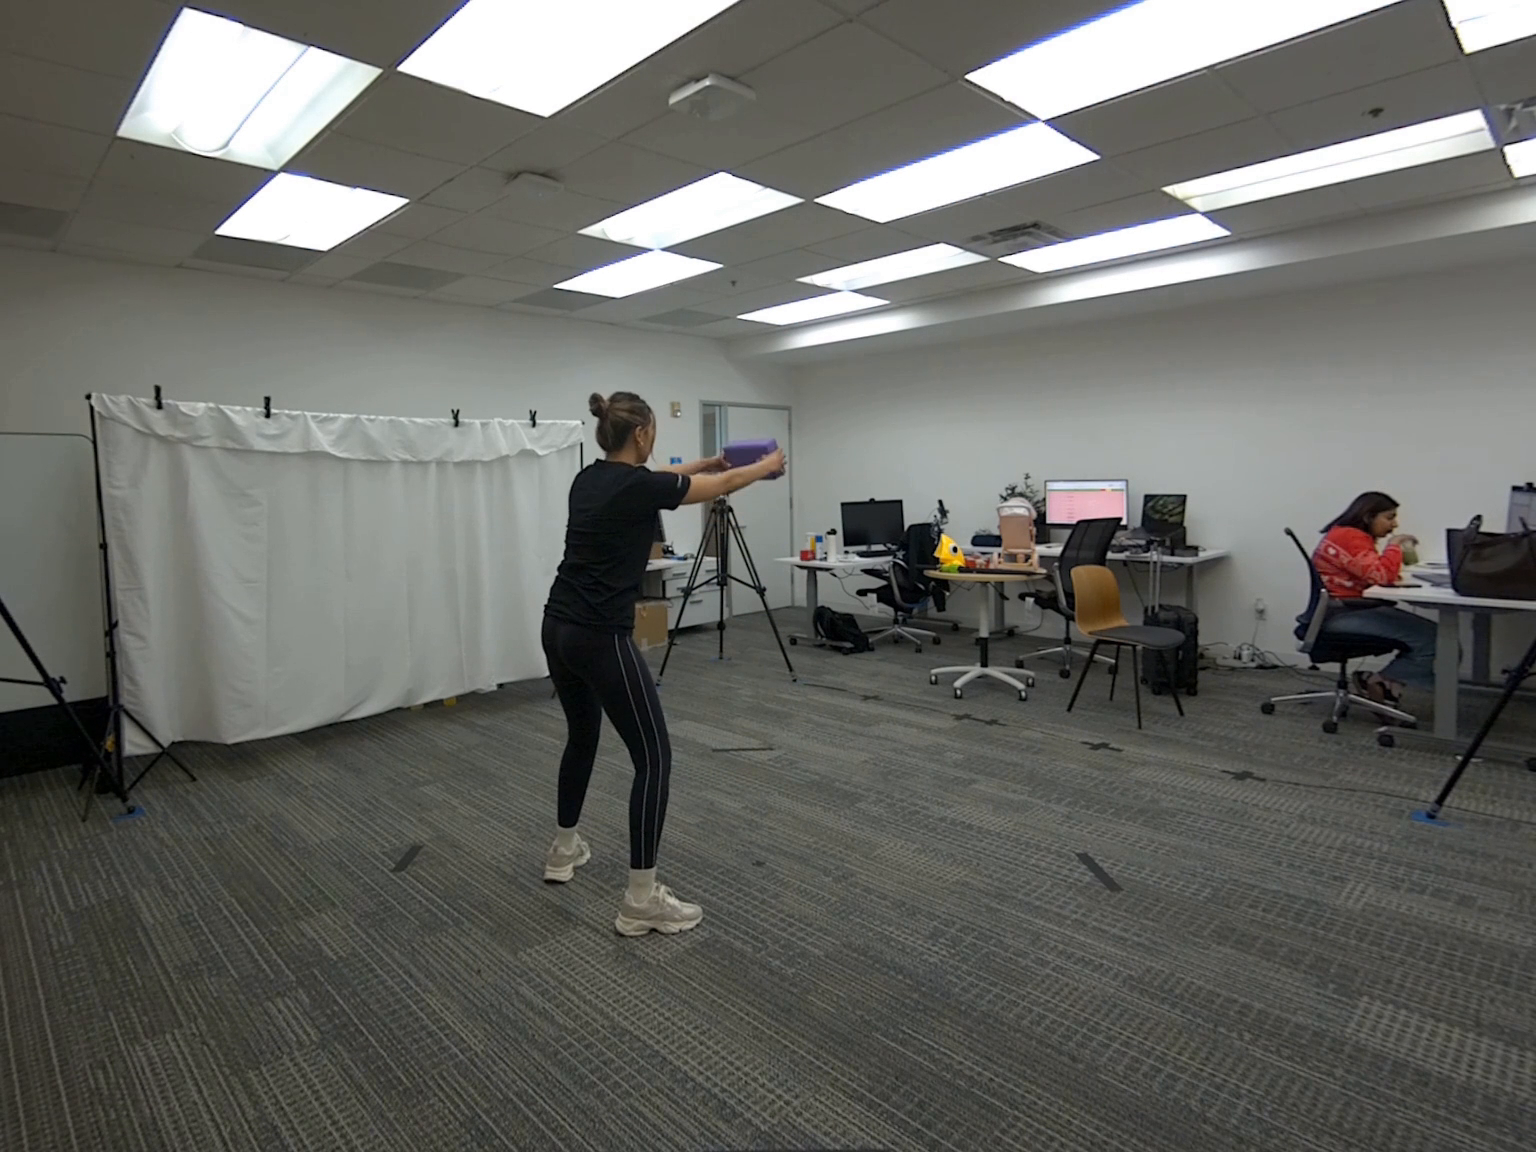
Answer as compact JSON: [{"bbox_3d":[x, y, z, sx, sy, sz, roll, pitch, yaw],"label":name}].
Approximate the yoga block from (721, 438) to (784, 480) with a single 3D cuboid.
[{"bbox_3d":[-0.062,-0.443,3.295,0.236,0.146,0.076,4,30,44],"label":"yoga block"}]
